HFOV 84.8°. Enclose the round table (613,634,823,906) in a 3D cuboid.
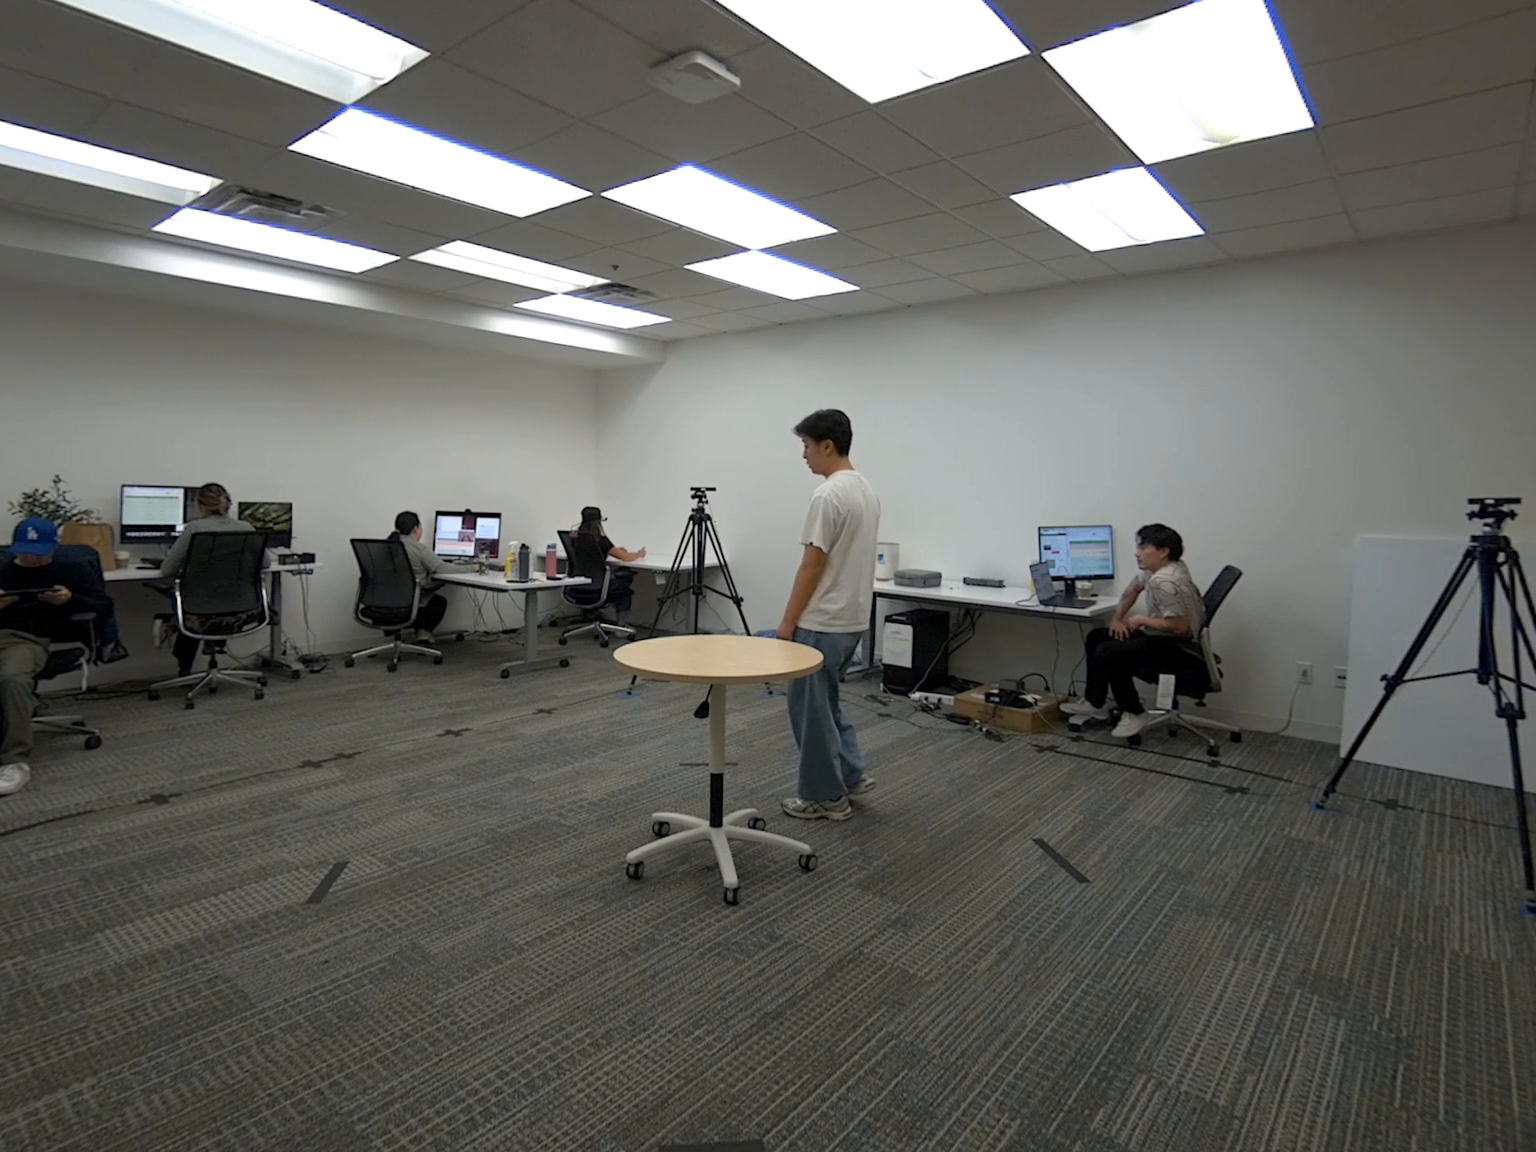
[{"bbox_3d":[-0.201,0.674,3.136,0.763,0.792,0.767,1,4,-2],"label":"round table"}]
